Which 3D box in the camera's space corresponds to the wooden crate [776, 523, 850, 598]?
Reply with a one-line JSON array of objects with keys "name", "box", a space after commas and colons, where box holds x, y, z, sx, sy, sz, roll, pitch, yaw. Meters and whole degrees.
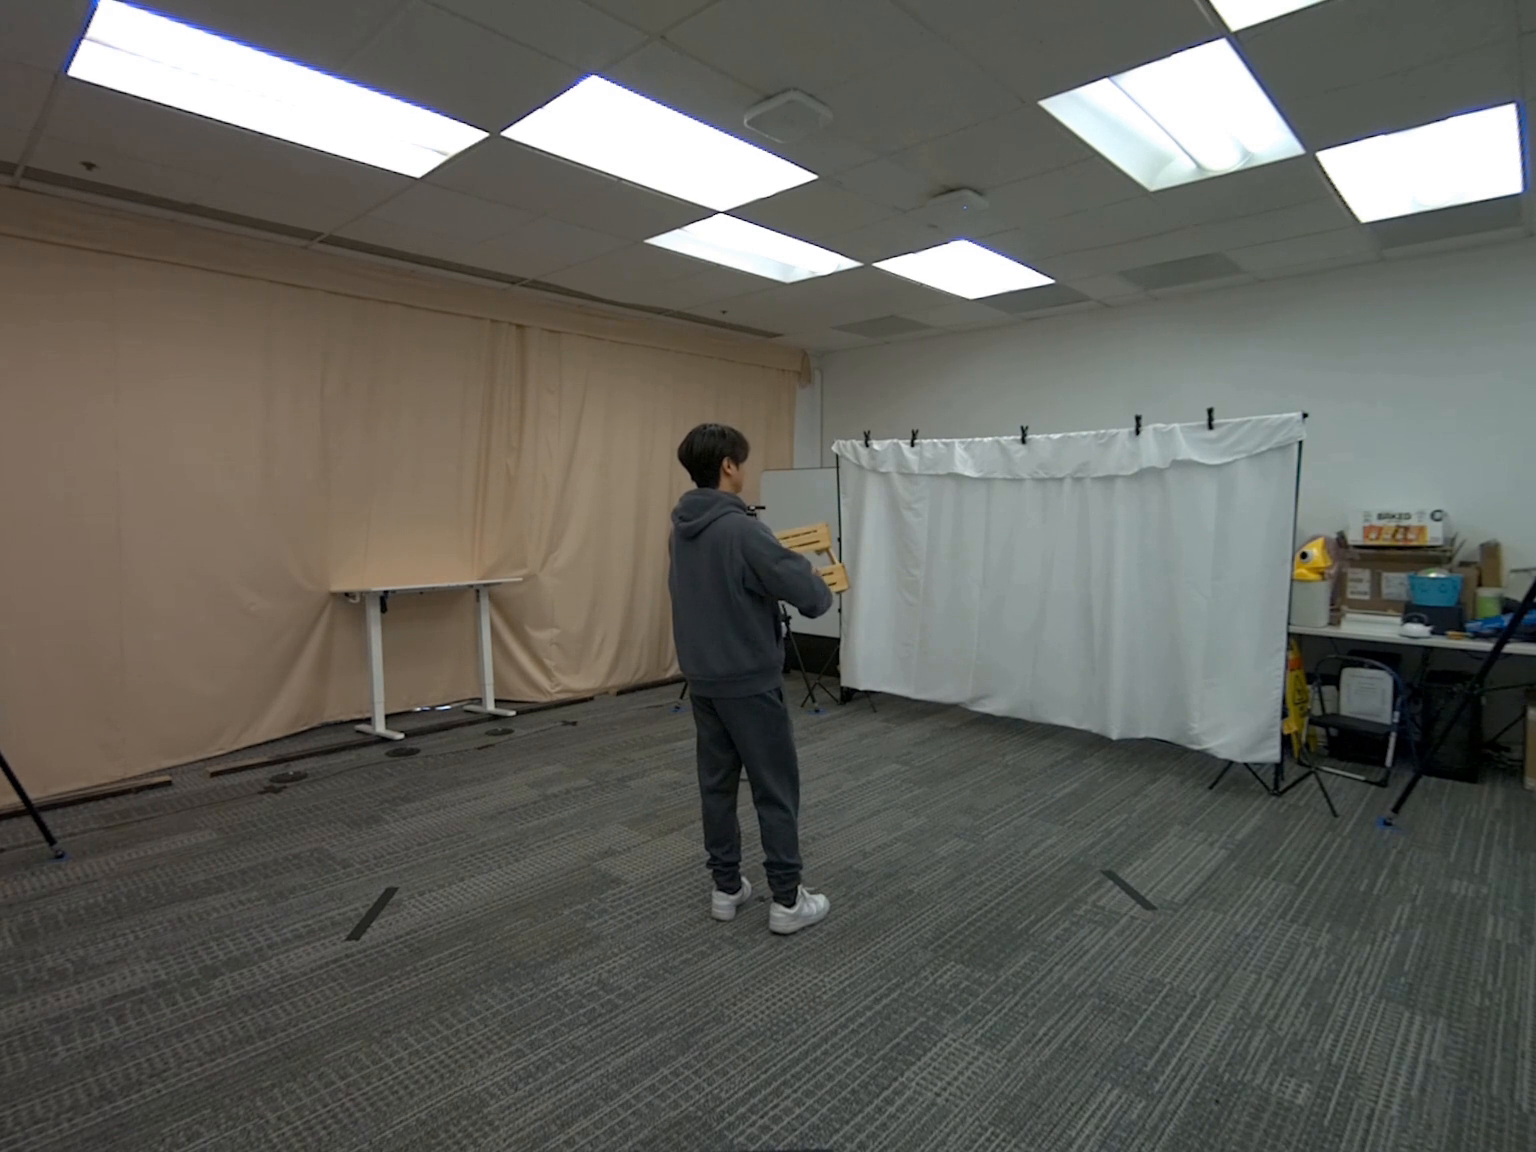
[{"name": "wooden crate", "box": [0.094, -0.022, 3.083, 0.321, 0.276, 0.302, -13, -9, -12]}]
